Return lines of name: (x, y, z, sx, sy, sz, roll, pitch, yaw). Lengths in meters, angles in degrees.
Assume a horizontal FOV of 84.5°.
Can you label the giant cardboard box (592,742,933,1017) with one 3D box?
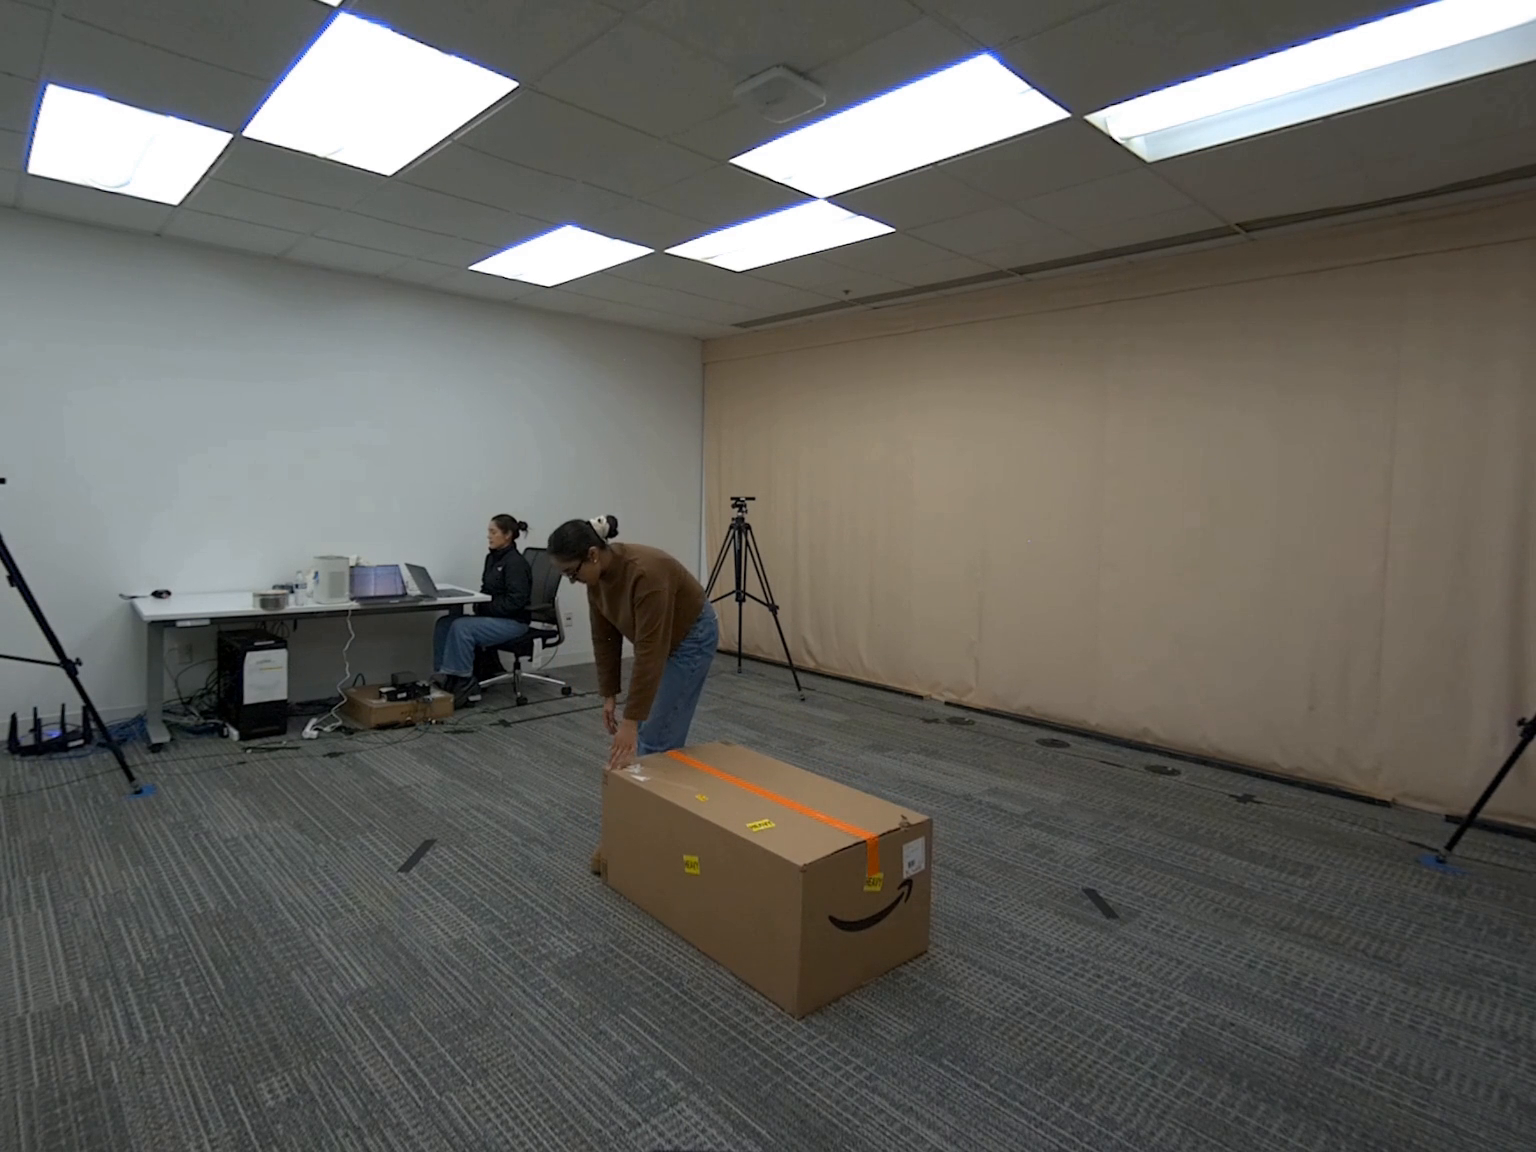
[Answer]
giant cardboard box: (-0.048, 0.927, 2.806, 0.570, 0.446, 1.053, -1, 5, -41)
